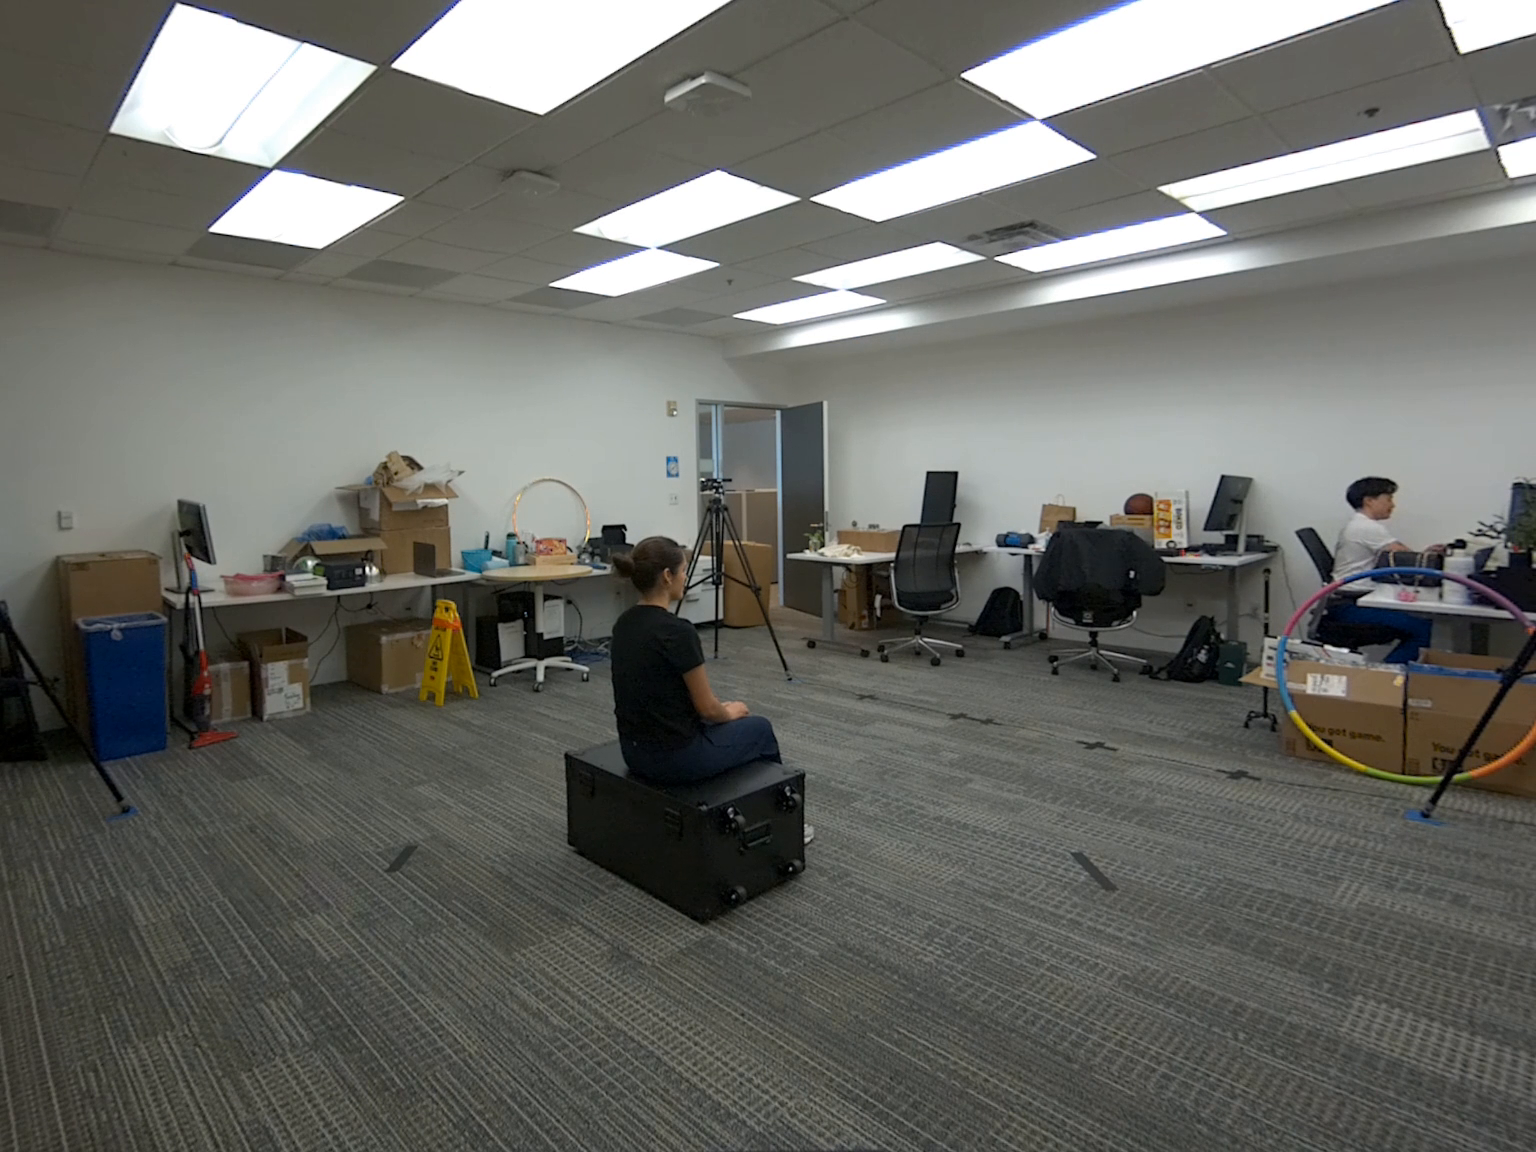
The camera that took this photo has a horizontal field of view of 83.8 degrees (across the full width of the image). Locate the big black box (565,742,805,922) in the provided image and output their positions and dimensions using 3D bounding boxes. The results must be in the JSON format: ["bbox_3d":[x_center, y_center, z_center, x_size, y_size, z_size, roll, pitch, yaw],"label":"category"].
[{"bbox_3d":[-0.296,0.863,3.093,0.508,0.394,0.888,-7,8,-44],"label":"big black box"}]
